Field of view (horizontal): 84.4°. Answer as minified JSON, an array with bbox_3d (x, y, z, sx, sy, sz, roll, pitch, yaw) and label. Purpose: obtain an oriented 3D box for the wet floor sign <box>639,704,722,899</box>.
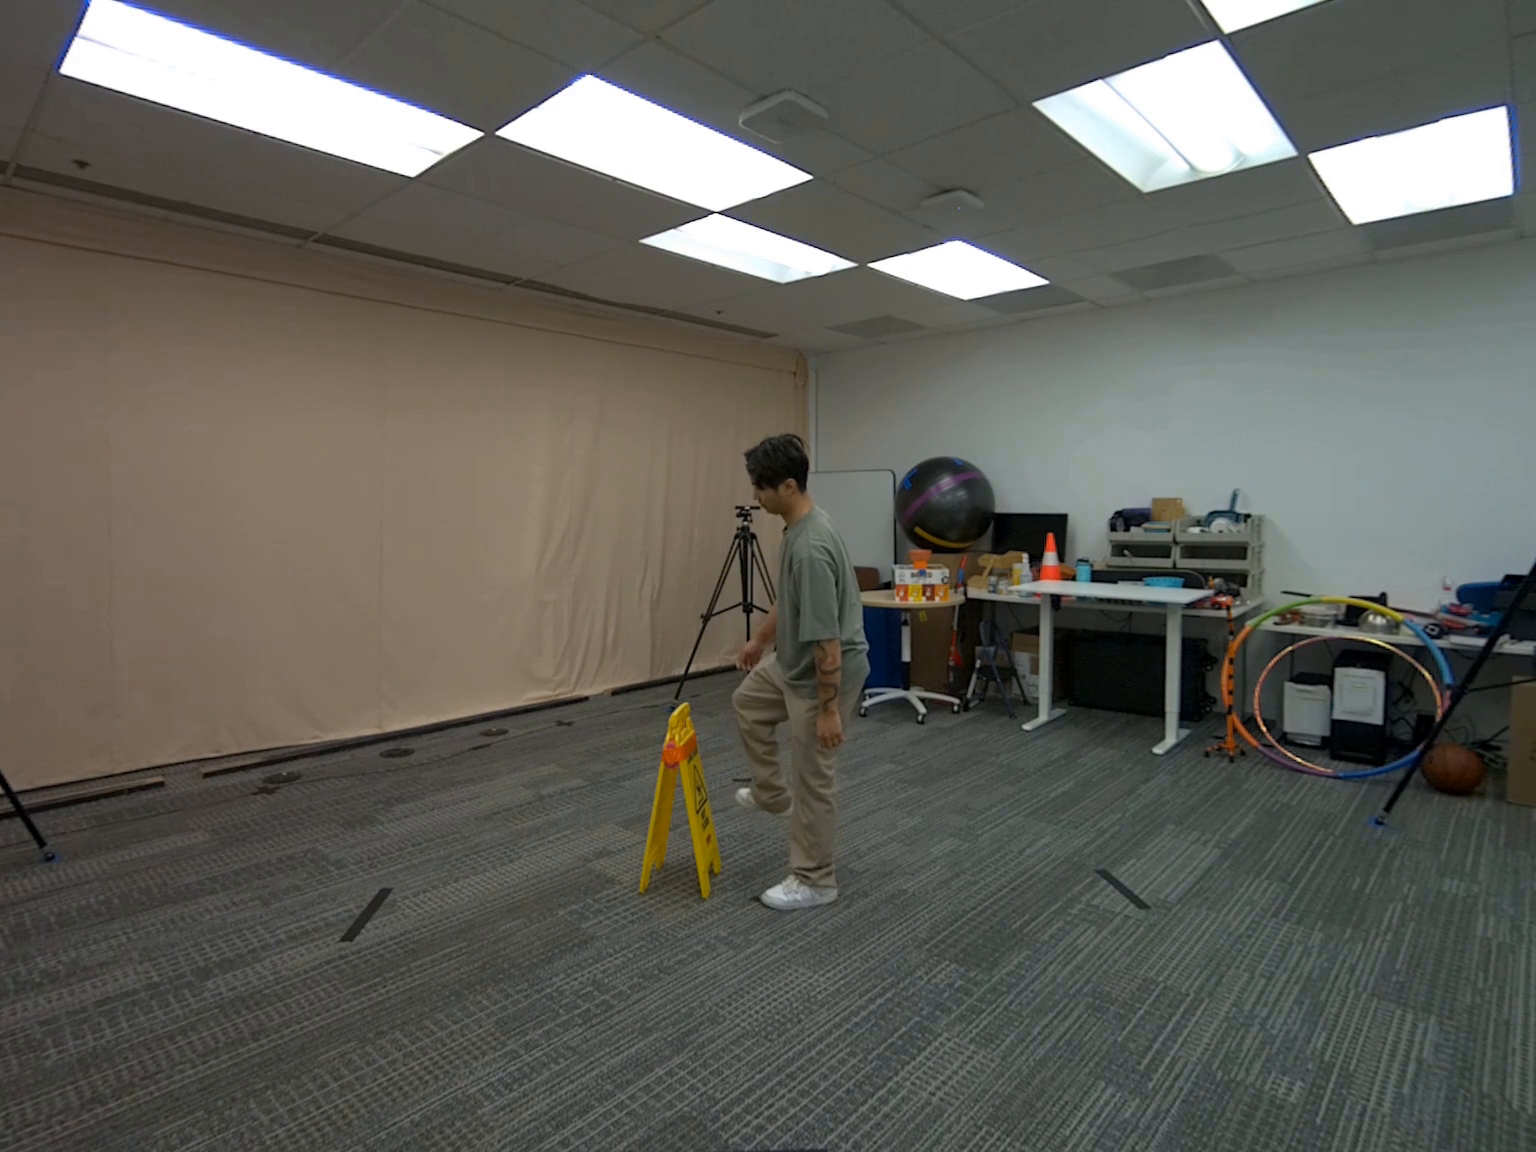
[{"bbox_3d":[-0.326,0.815,3.115,0.293,0.645,0.279,-1,2,9],"label":"wet floor sign"}]
